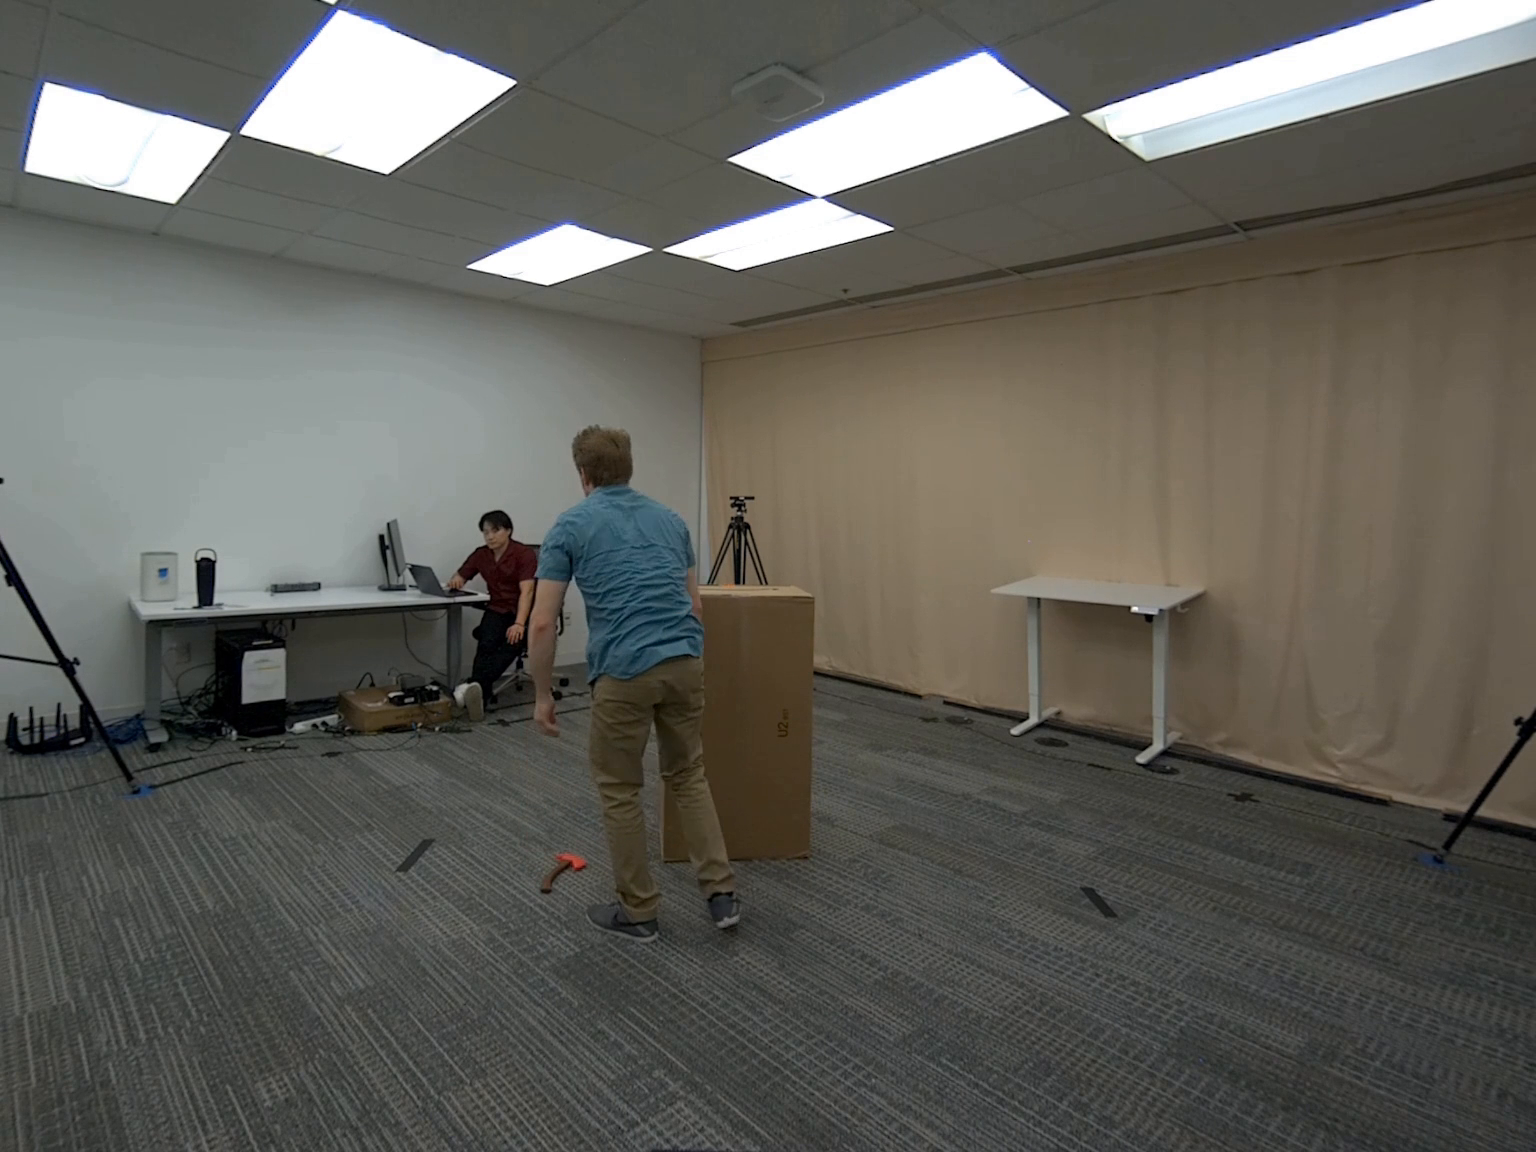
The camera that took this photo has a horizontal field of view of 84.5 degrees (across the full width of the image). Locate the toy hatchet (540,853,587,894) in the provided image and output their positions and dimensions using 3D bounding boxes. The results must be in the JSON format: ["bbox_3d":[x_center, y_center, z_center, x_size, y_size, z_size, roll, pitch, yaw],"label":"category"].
[{"bbox_3d":[-0.747,1.085,3.056,0.131,0.029,0.272,5,8,-3],"label":"toy hatchet"}]
